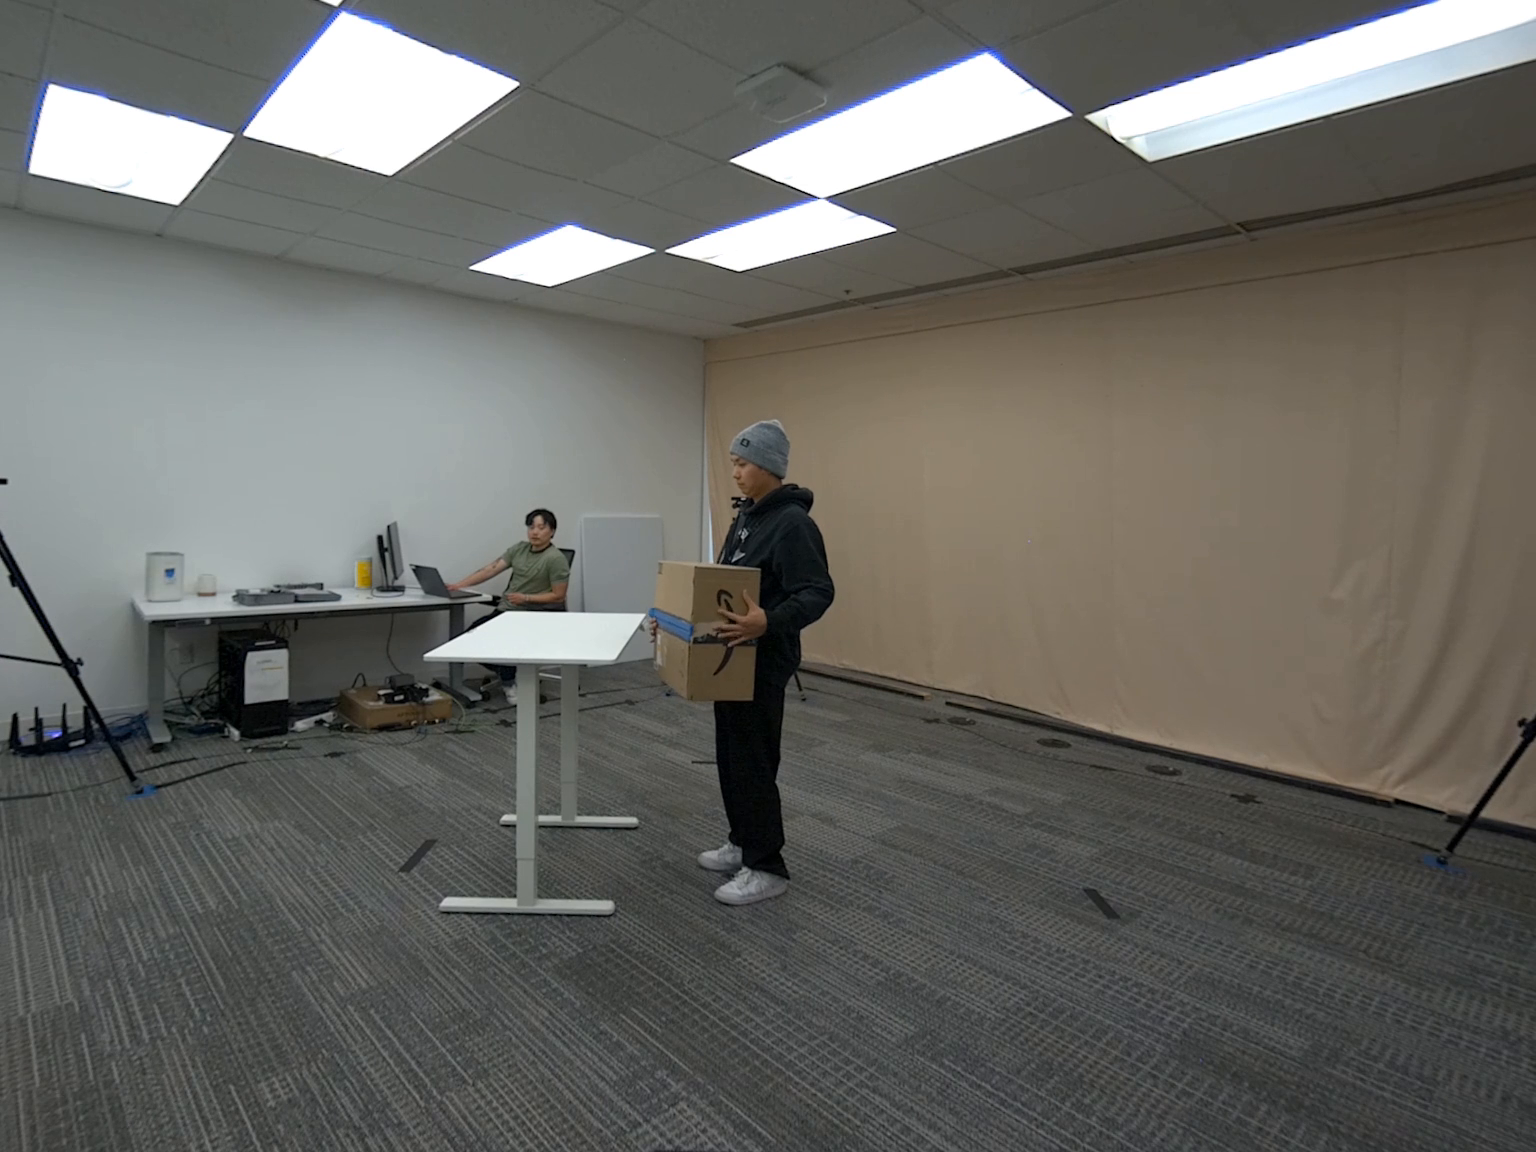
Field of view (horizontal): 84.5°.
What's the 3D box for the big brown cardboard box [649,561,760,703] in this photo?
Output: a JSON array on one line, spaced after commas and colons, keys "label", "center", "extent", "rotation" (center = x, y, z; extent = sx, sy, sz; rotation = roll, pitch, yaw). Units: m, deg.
[{"label": "big brown cardboard box", "center": [-0.233, 0.168, 2.876], "extent": [0.230, 0.417, 0.598], "rotation": [2, 2, -19]}]
